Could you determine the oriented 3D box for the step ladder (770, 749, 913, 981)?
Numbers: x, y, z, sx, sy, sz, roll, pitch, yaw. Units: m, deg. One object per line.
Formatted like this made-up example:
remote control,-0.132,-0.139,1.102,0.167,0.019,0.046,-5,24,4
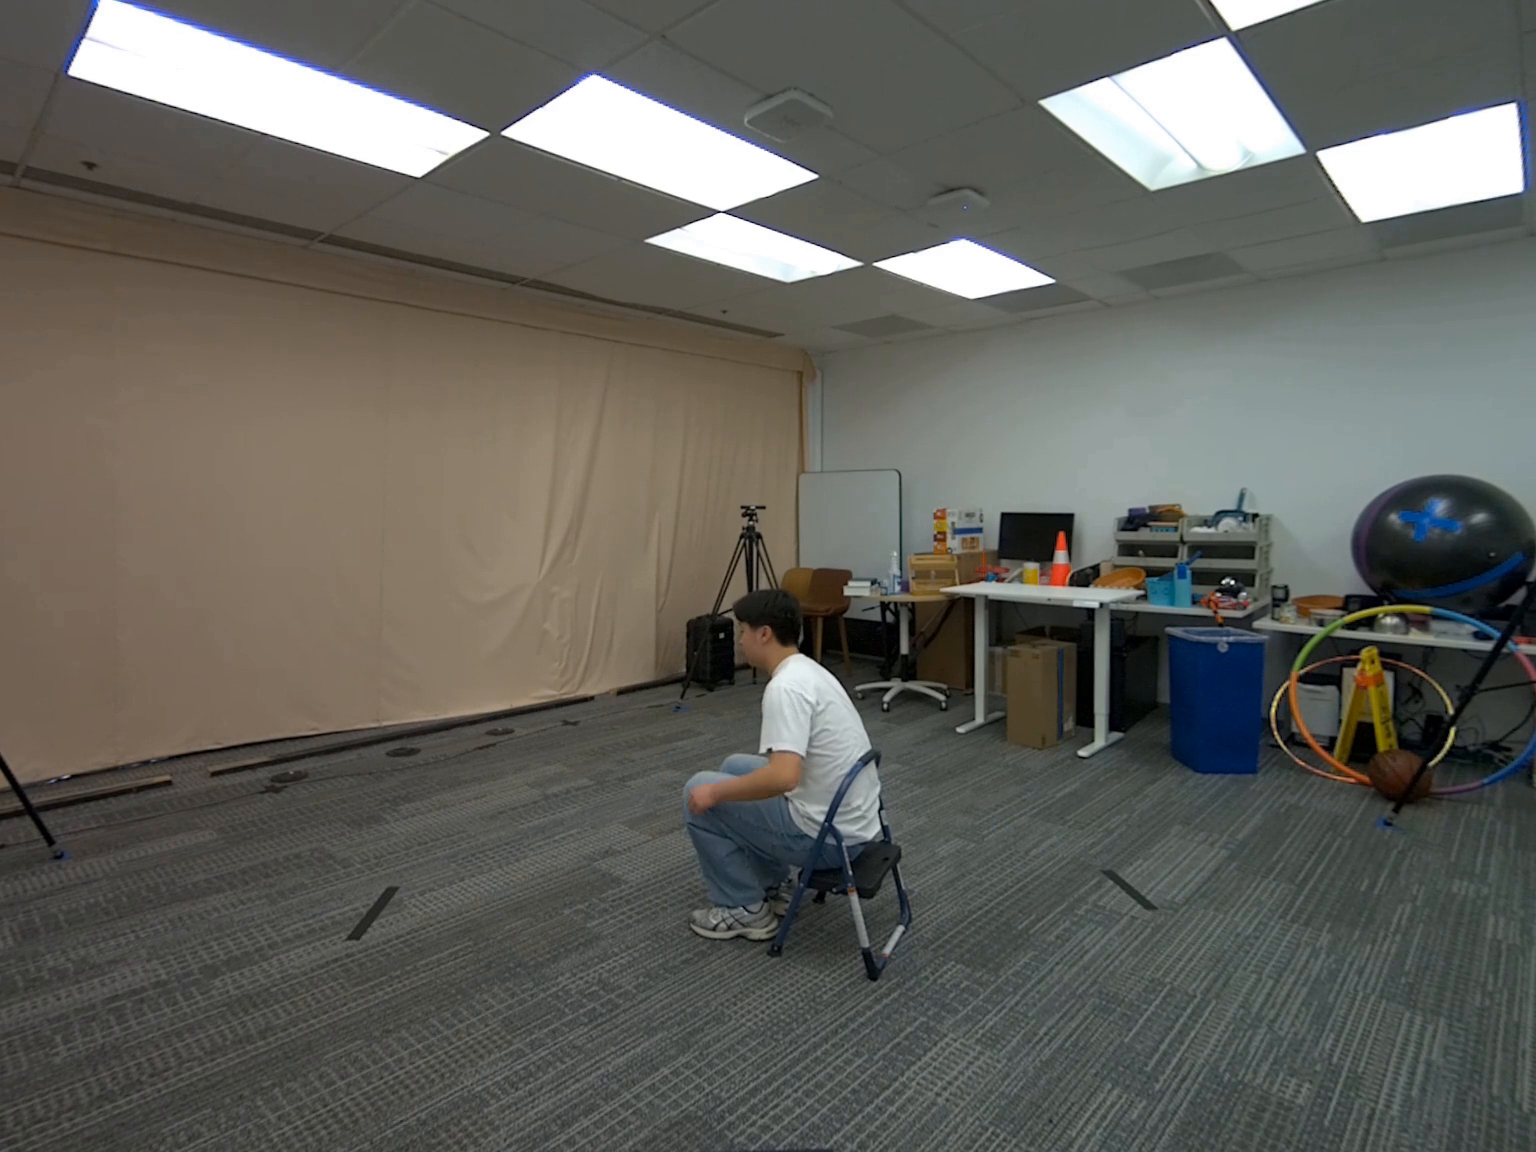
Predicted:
step ladder,0.253,0.867,2.694,0.358,0.604,0.420,2,5,25
